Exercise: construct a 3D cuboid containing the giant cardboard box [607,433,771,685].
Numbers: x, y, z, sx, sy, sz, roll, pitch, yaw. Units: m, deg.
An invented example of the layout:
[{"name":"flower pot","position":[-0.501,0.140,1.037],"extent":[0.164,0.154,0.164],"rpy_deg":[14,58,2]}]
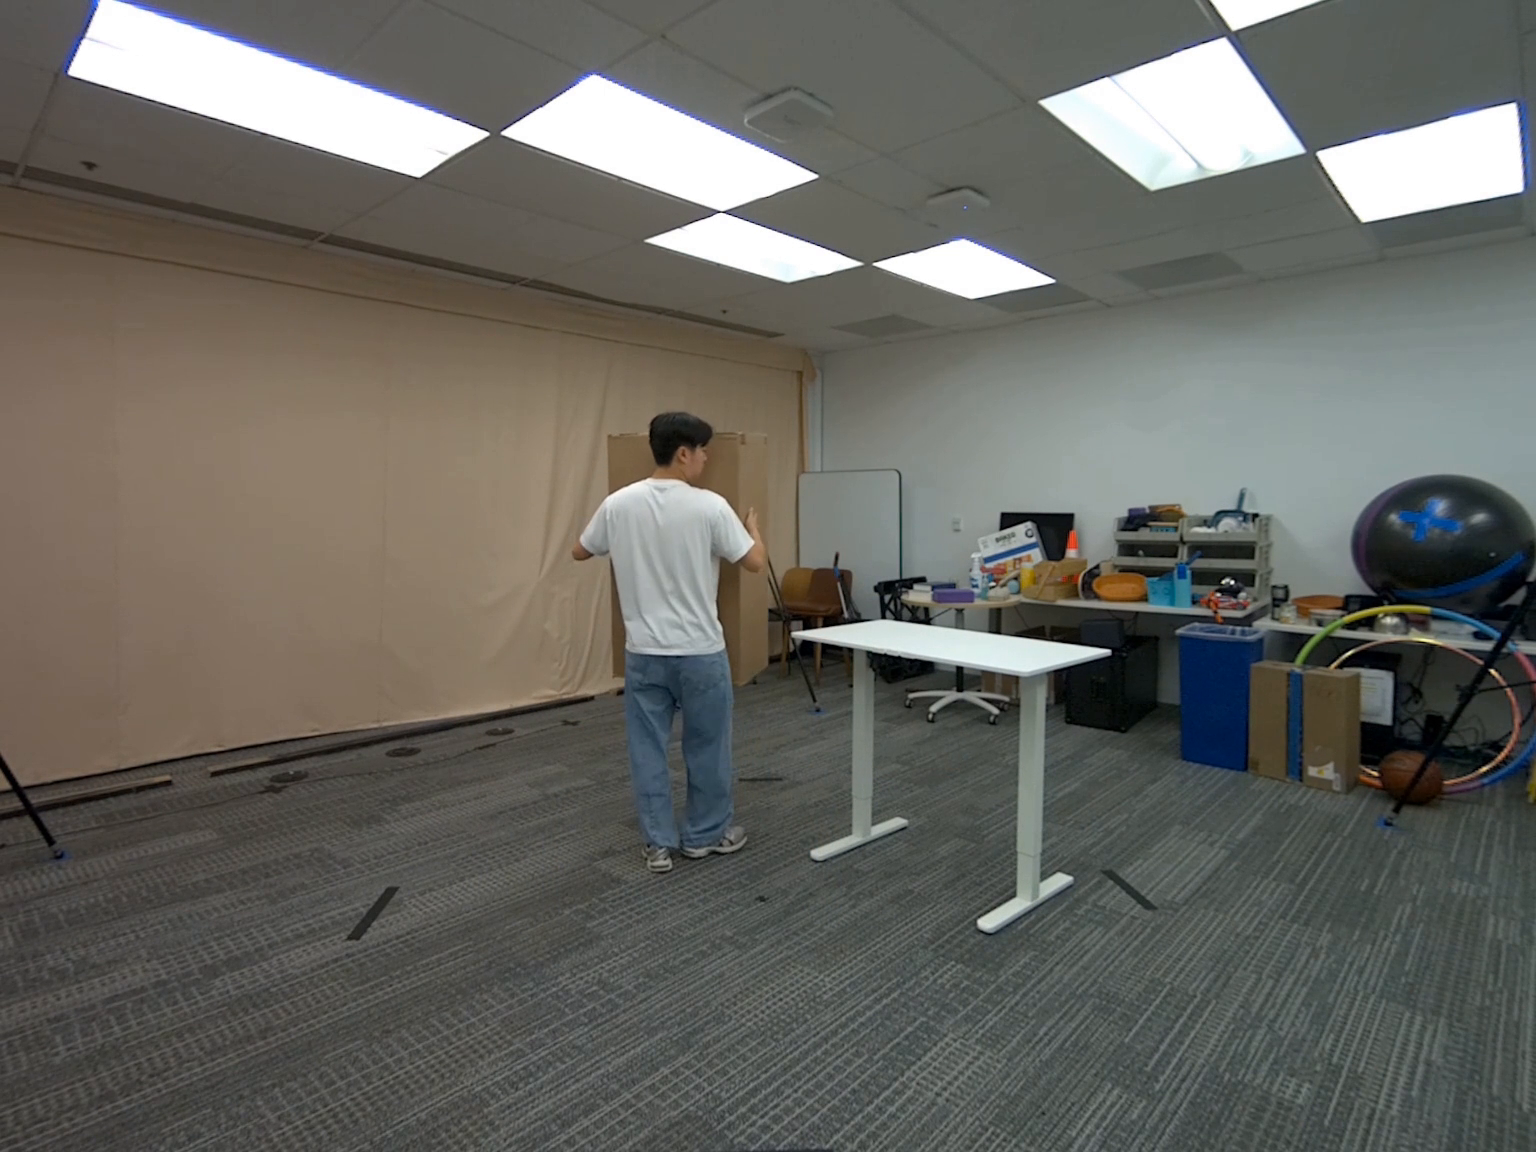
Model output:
[{"name":"giant cardboard box","position":[-0.331,-0.095,3.616],"extent":[0.589,1.022,0.419],"rpy_deg":[2,6,17]}]
